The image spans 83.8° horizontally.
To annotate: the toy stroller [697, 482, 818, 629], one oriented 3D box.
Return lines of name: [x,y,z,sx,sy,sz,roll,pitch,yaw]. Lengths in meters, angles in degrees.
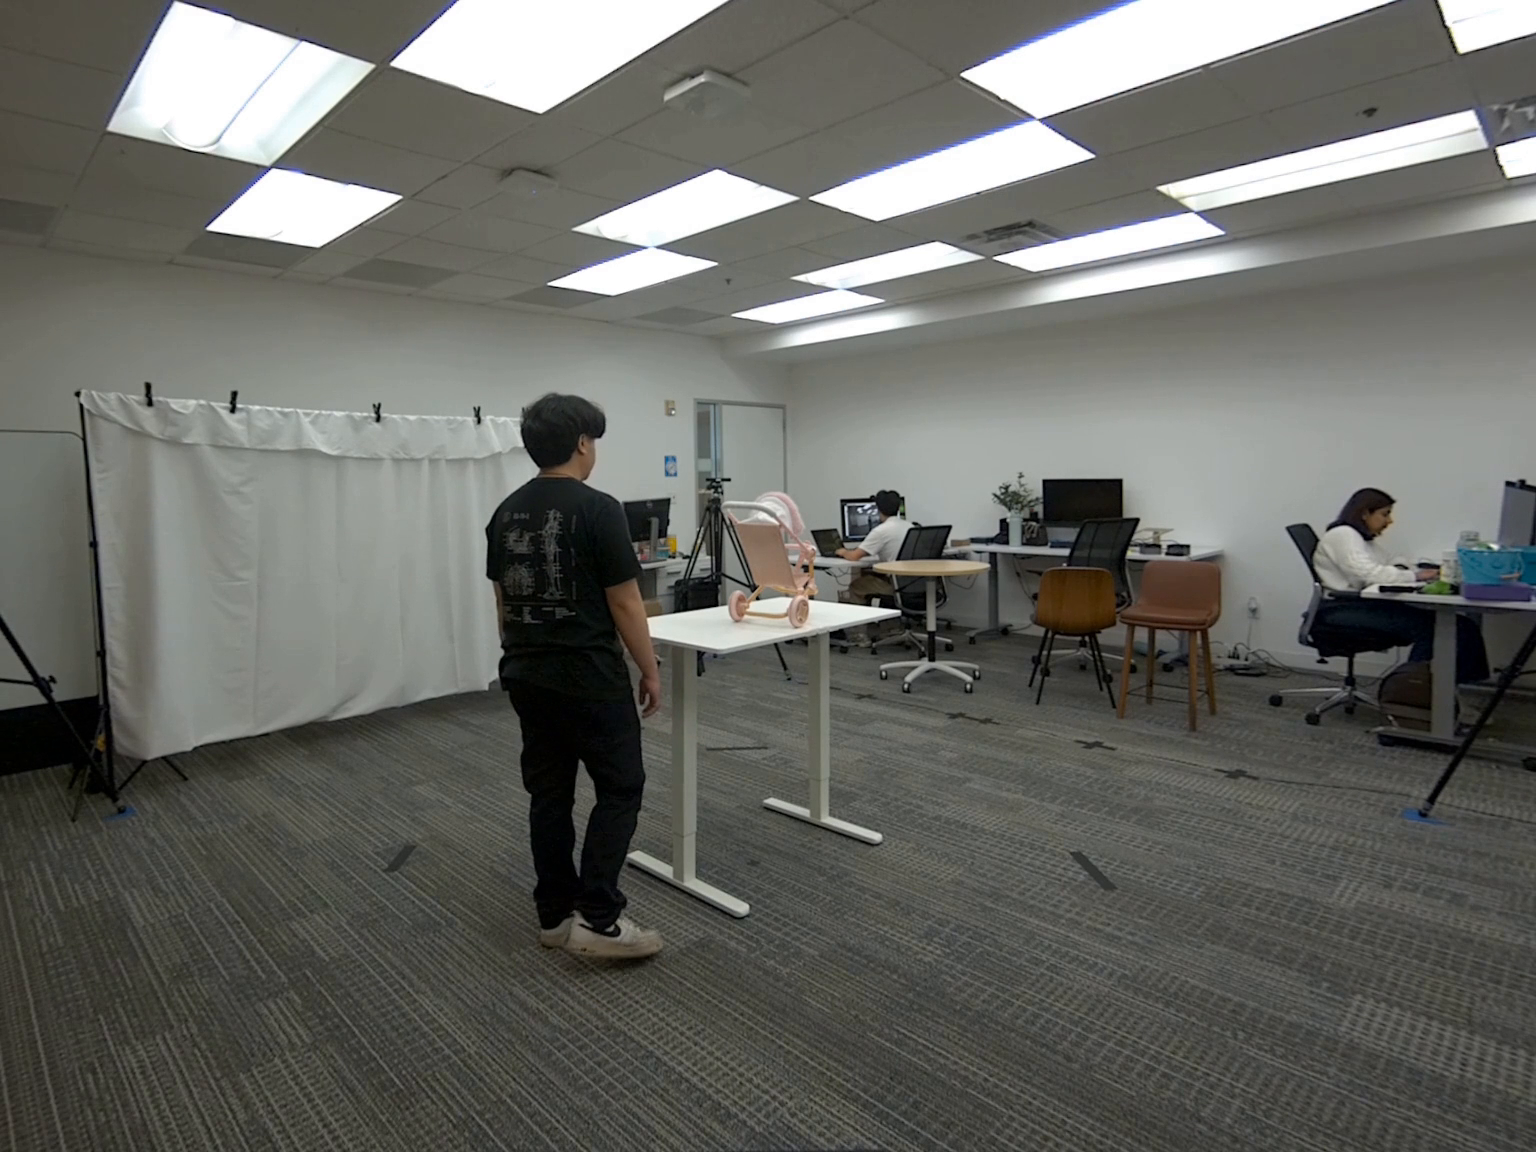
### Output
toy stroller: [0.035,-0.057,3.044,0.290,0.526,0.337,4,21,36]
